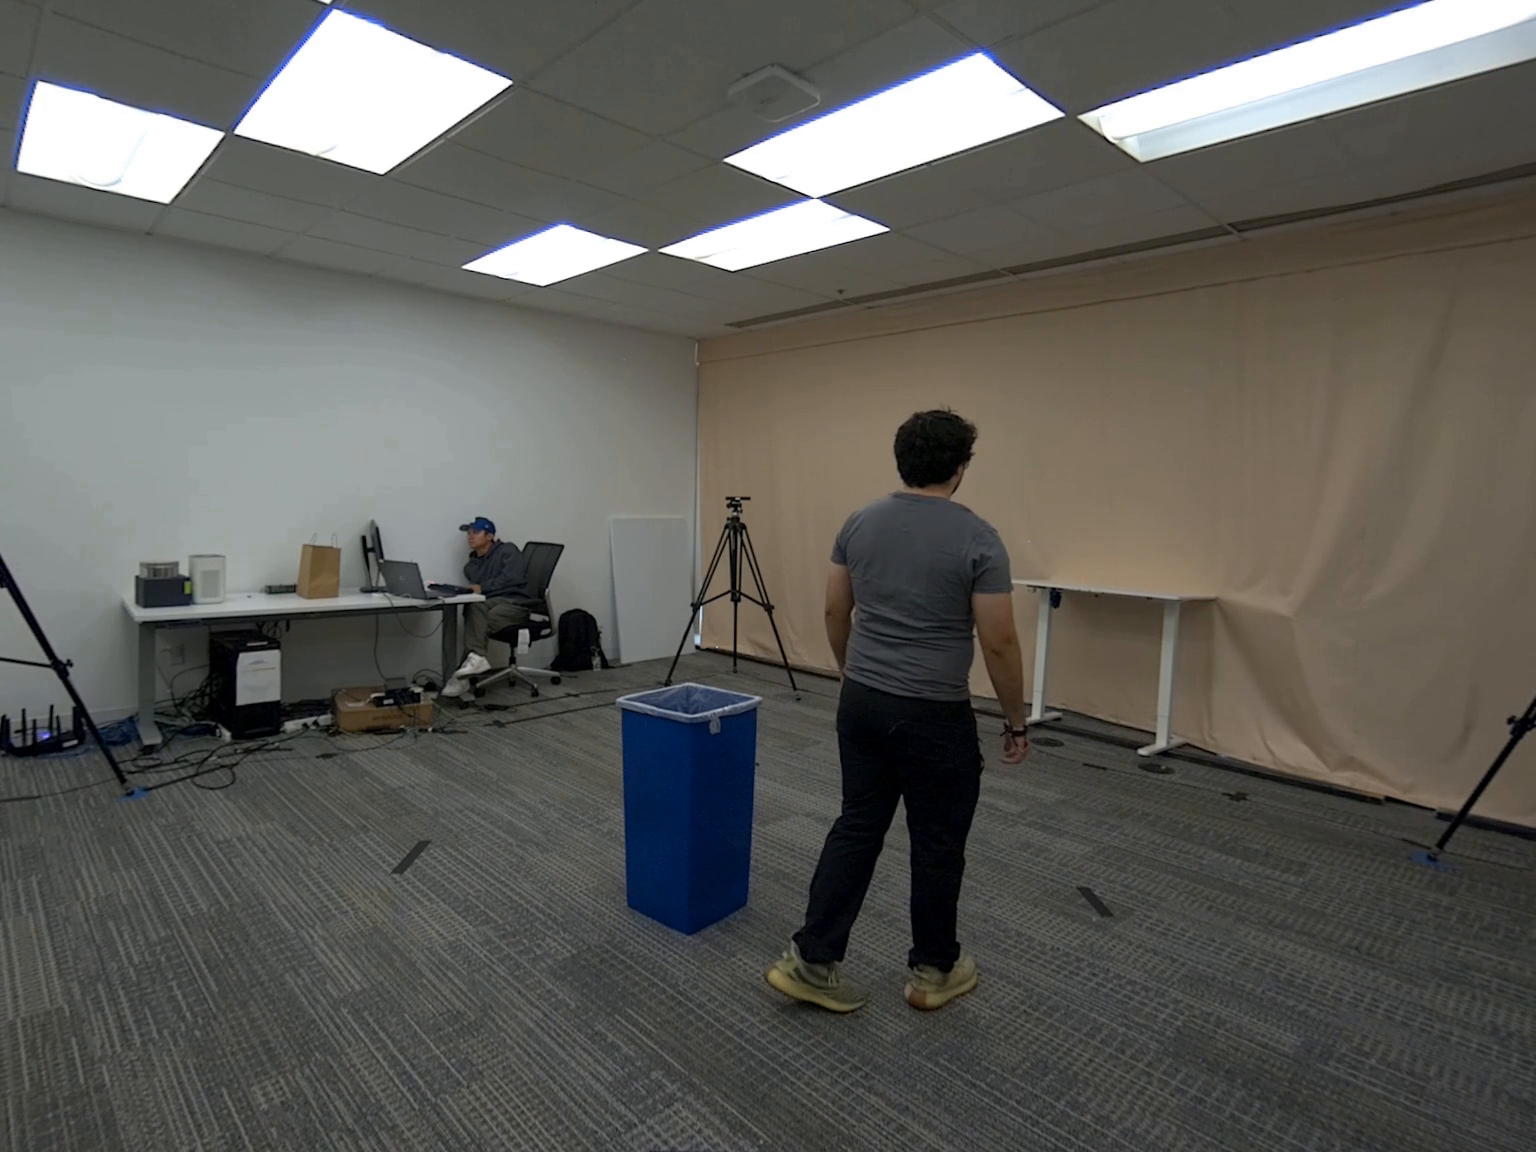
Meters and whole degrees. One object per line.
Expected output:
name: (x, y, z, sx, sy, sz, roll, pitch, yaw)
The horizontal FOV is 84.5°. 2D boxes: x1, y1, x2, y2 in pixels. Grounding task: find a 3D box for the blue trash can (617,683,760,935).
blue trash can: (-0.282, 0.769, 2.862, 0.383, 0.712, 0.369, 4, 4, 39)
